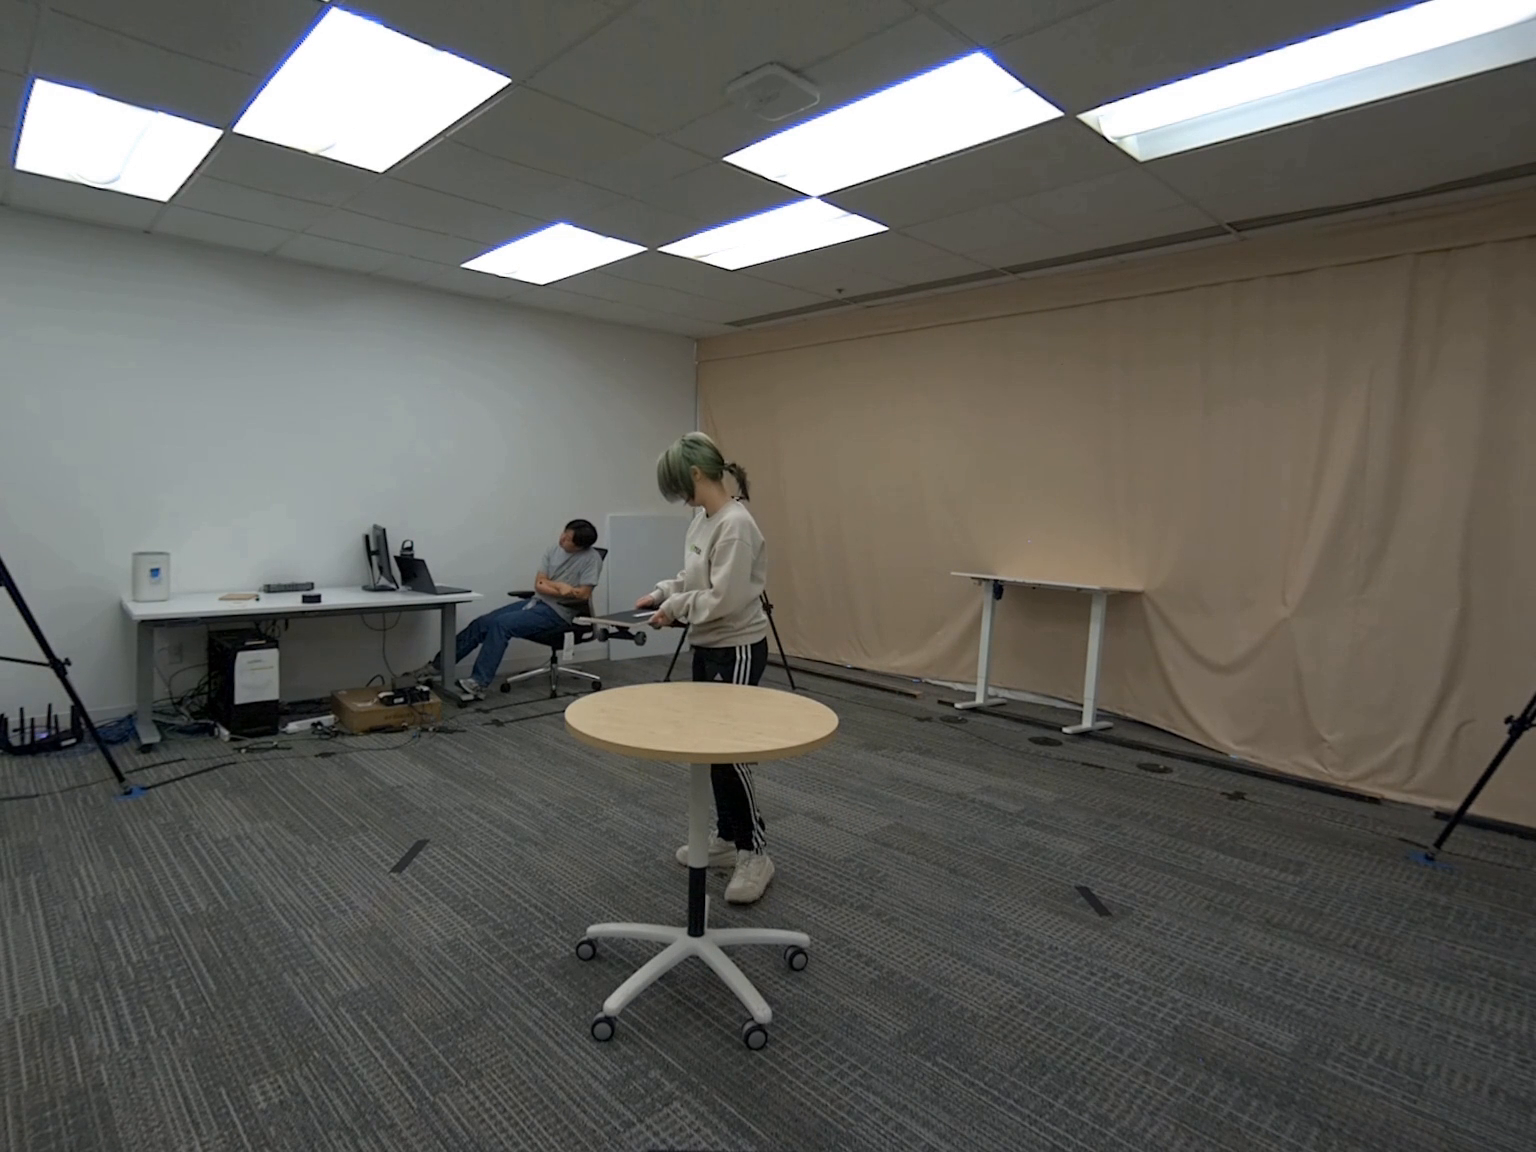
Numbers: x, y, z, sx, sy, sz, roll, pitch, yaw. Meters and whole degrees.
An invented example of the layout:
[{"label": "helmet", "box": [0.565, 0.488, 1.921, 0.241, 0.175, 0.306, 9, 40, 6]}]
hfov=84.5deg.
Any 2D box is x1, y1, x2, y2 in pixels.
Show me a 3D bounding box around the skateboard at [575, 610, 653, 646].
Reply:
[{"label": "skateboard", "box": [-0.445, 0.170, 3.137, 0.196, 0.110, 0.775, 3, 5, 19]}]
